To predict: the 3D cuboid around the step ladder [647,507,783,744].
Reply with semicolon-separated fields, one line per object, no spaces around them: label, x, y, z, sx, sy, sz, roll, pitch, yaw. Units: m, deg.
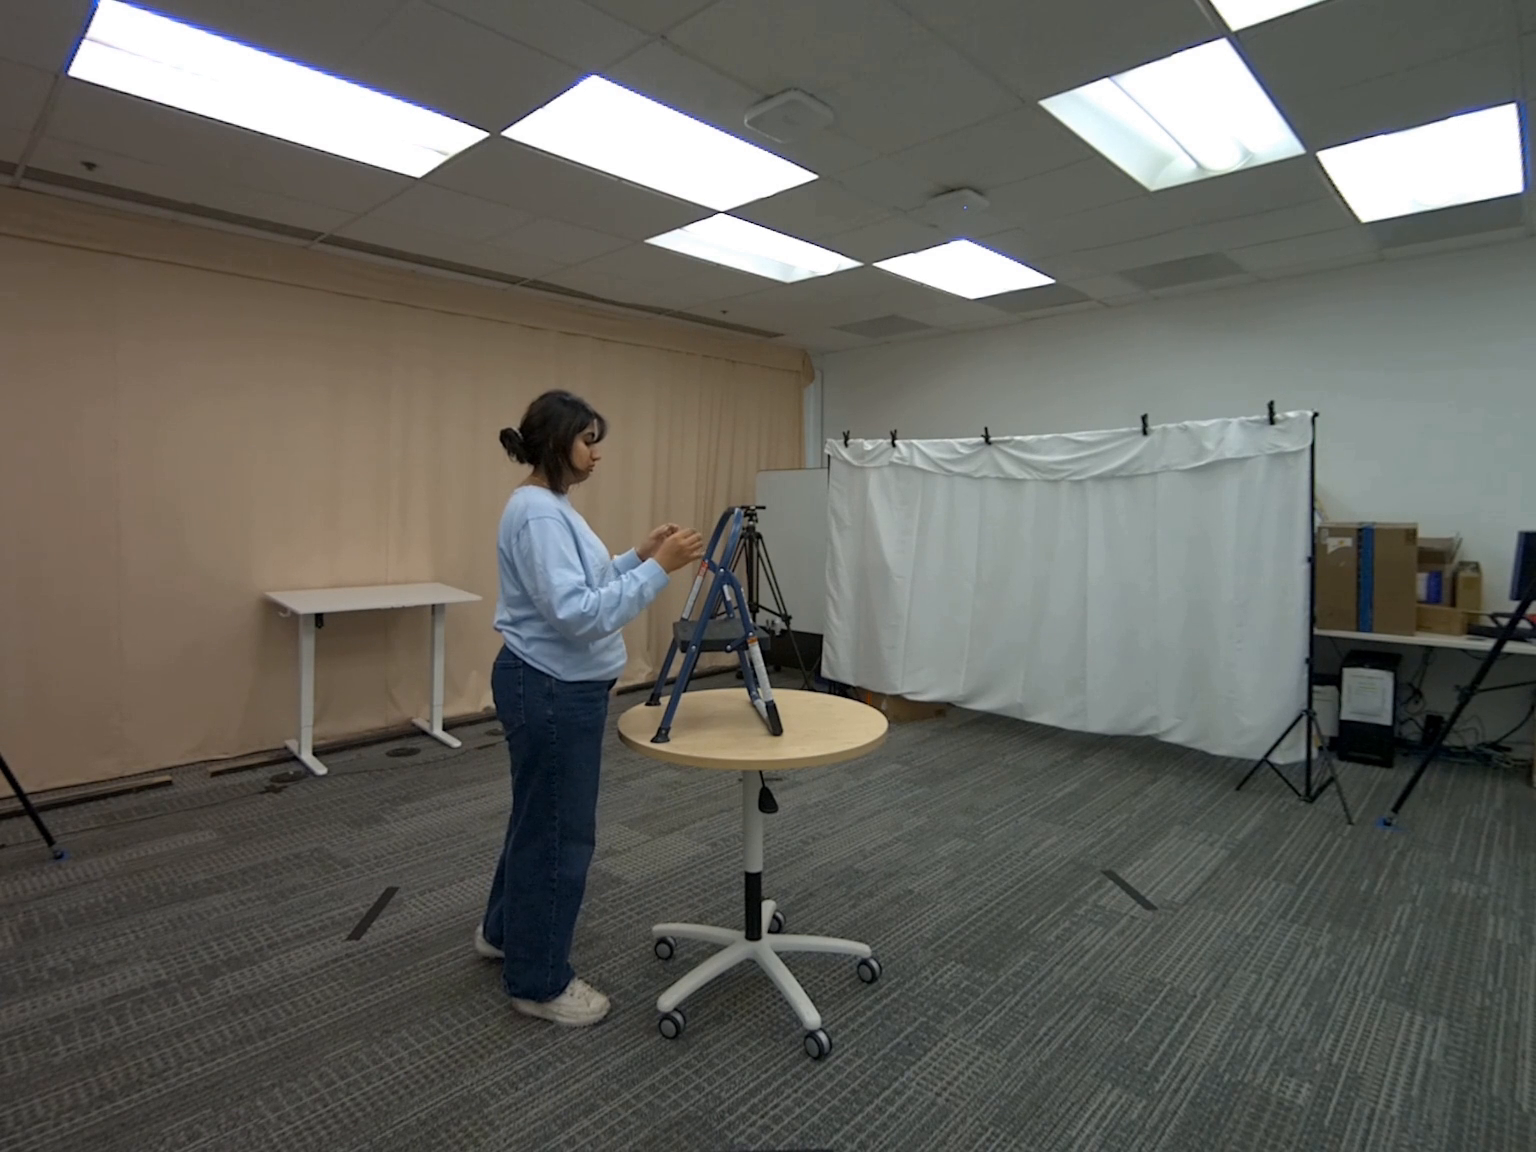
step ladder;-0.159;0.104;2.382;0.346;0.605;0.436;-2;4;-10
